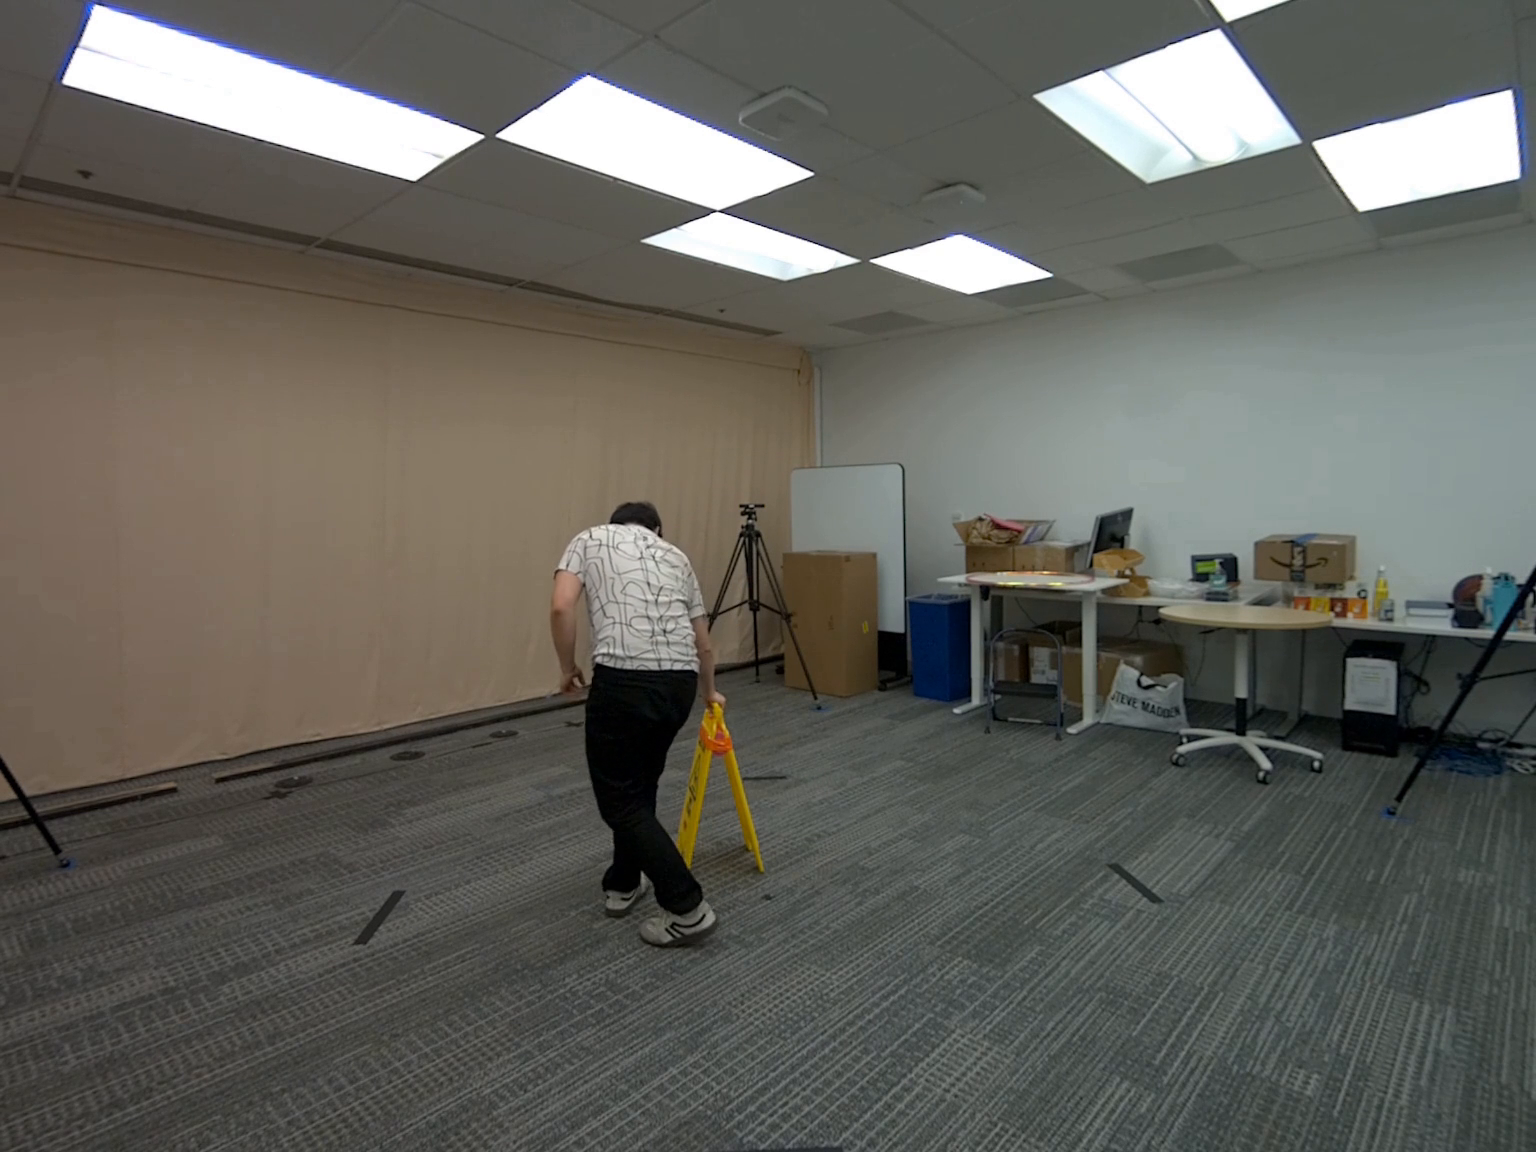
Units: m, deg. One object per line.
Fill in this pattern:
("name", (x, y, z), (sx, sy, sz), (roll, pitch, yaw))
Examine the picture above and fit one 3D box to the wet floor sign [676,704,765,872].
("wet floor sign", (-0.199, 0.792, 3.270), (0.286, 0.645, 0.286), (-2, 2, -12))
